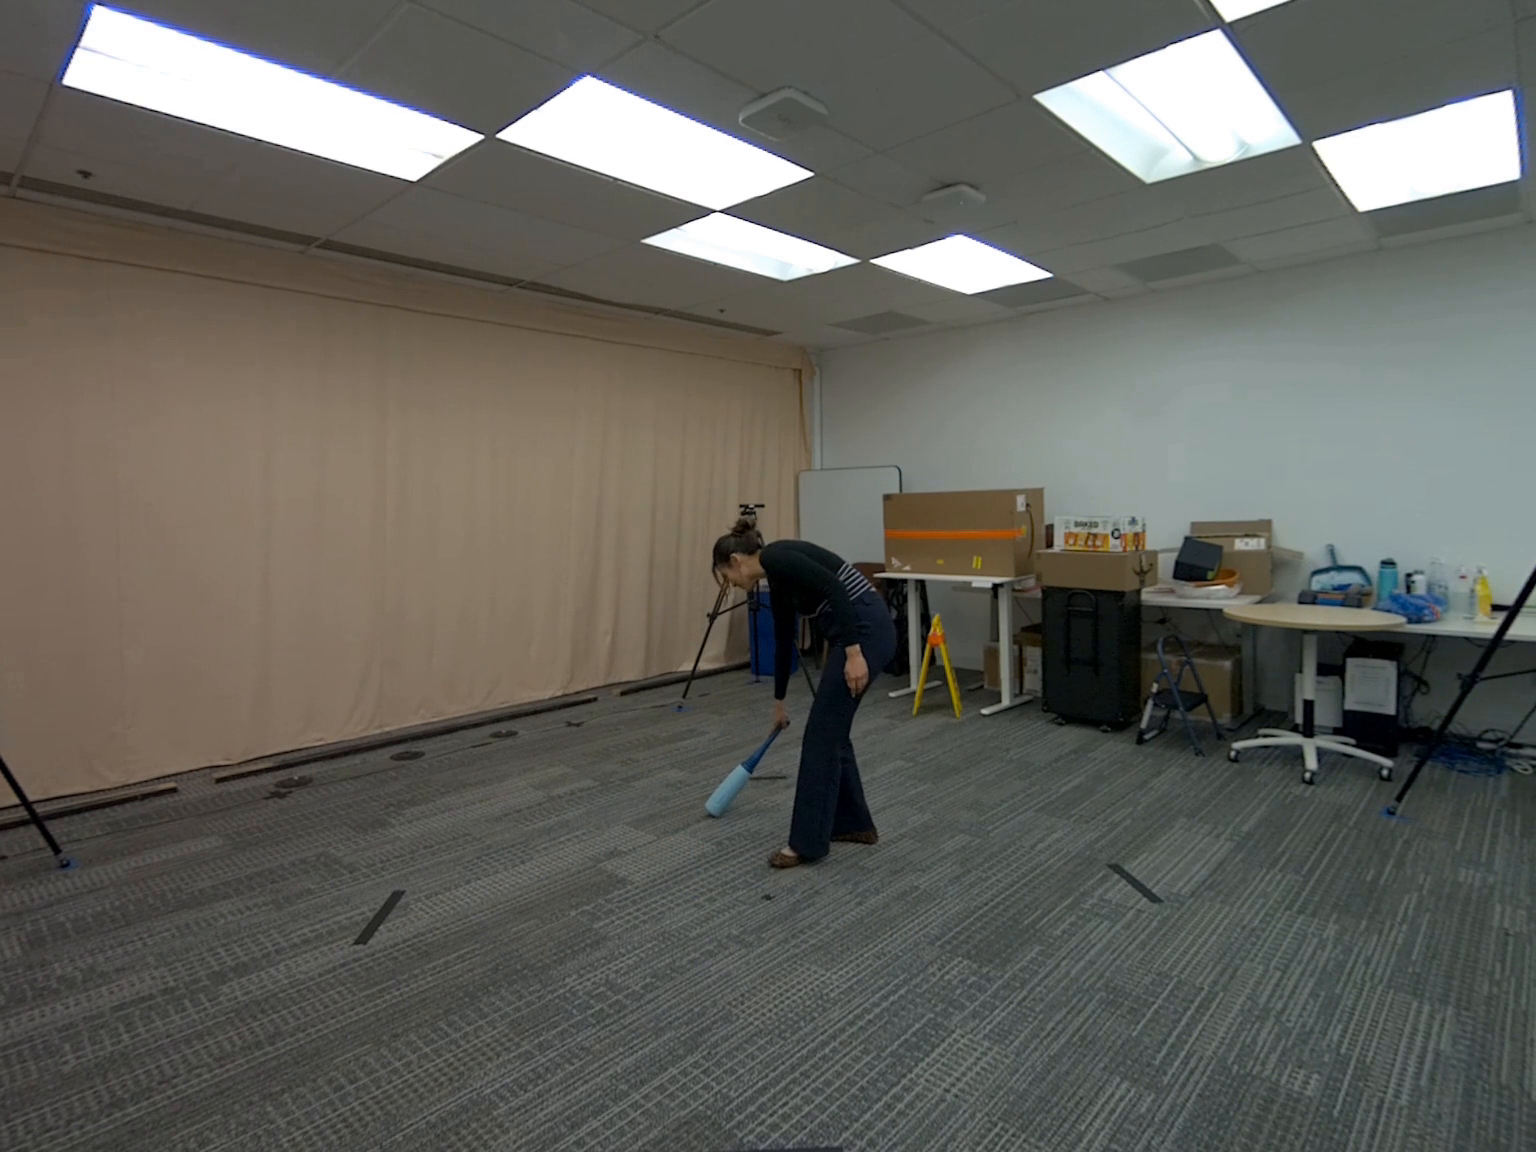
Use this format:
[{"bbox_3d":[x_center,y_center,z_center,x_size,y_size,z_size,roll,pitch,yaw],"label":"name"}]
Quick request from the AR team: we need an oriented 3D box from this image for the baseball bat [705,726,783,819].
[{"bbox_3d":[-0.081,0.850,3.780,0.089,0.543,0.089,39,-1,-1],"label":"baseball bat"}]
